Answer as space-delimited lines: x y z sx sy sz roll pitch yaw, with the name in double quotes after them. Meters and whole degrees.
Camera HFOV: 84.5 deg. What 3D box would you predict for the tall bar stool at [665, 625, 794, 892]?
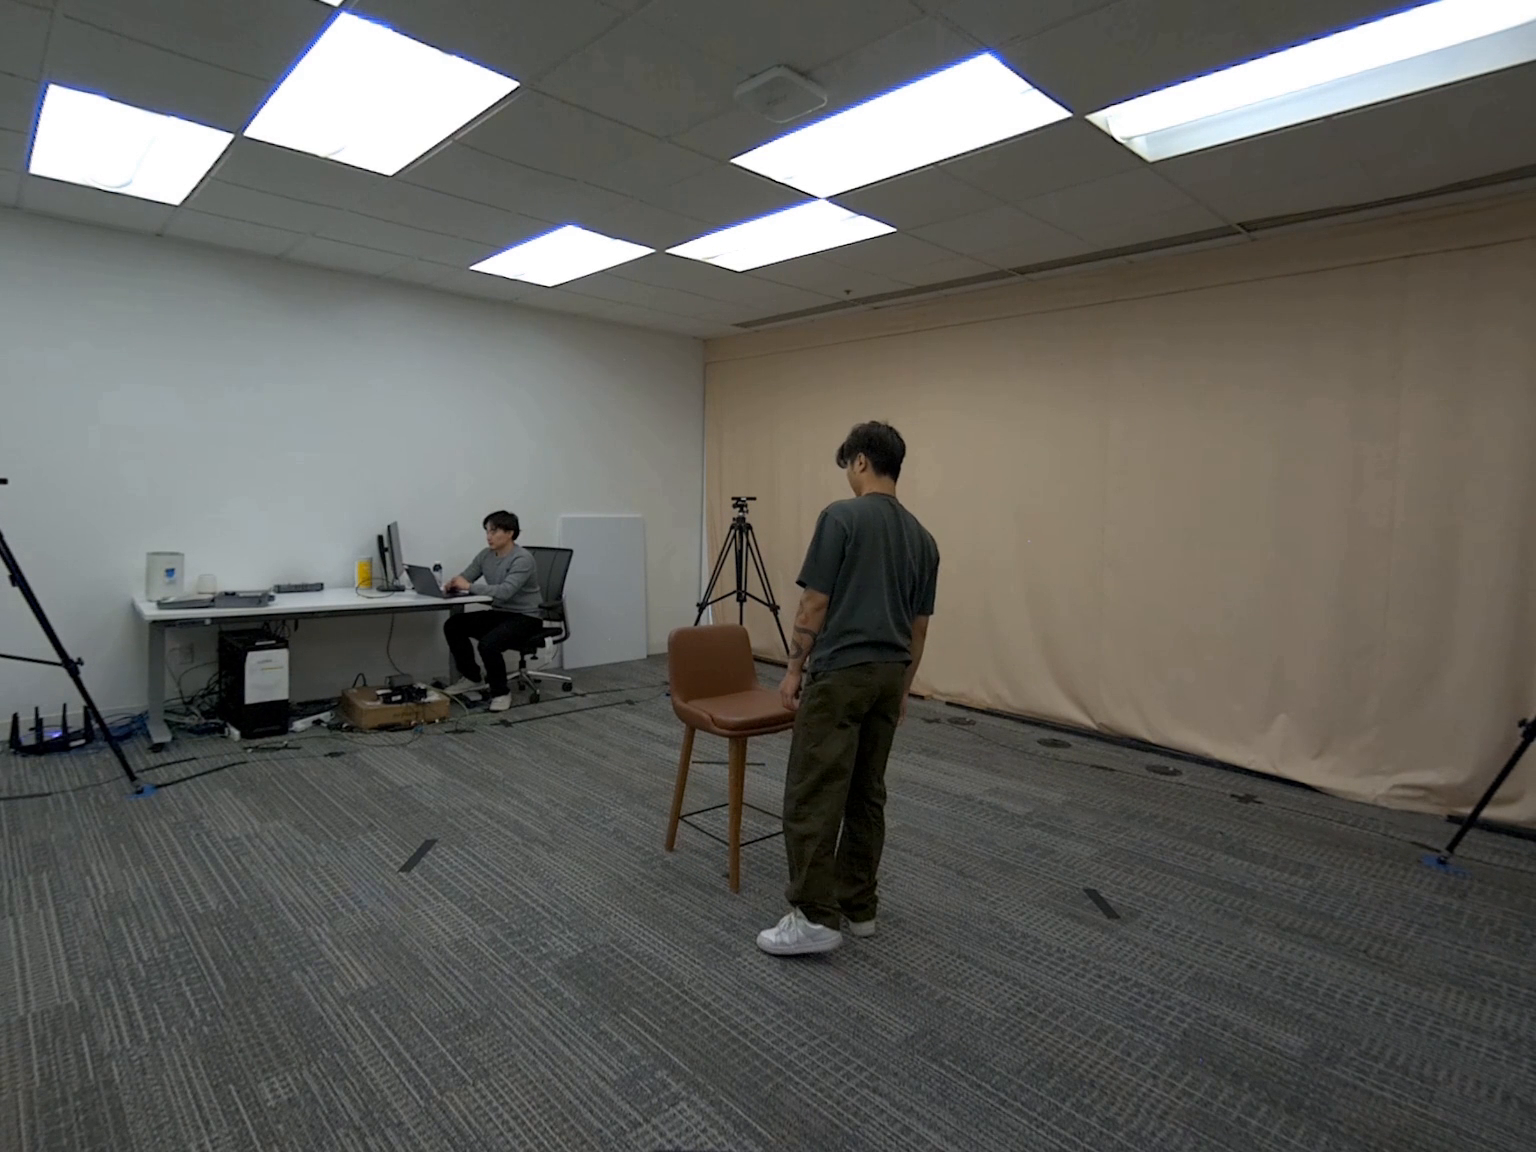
-0.119 0.659 3.249 0.446 0.889 0.479 -2 2 -41 "tall bar stool"
